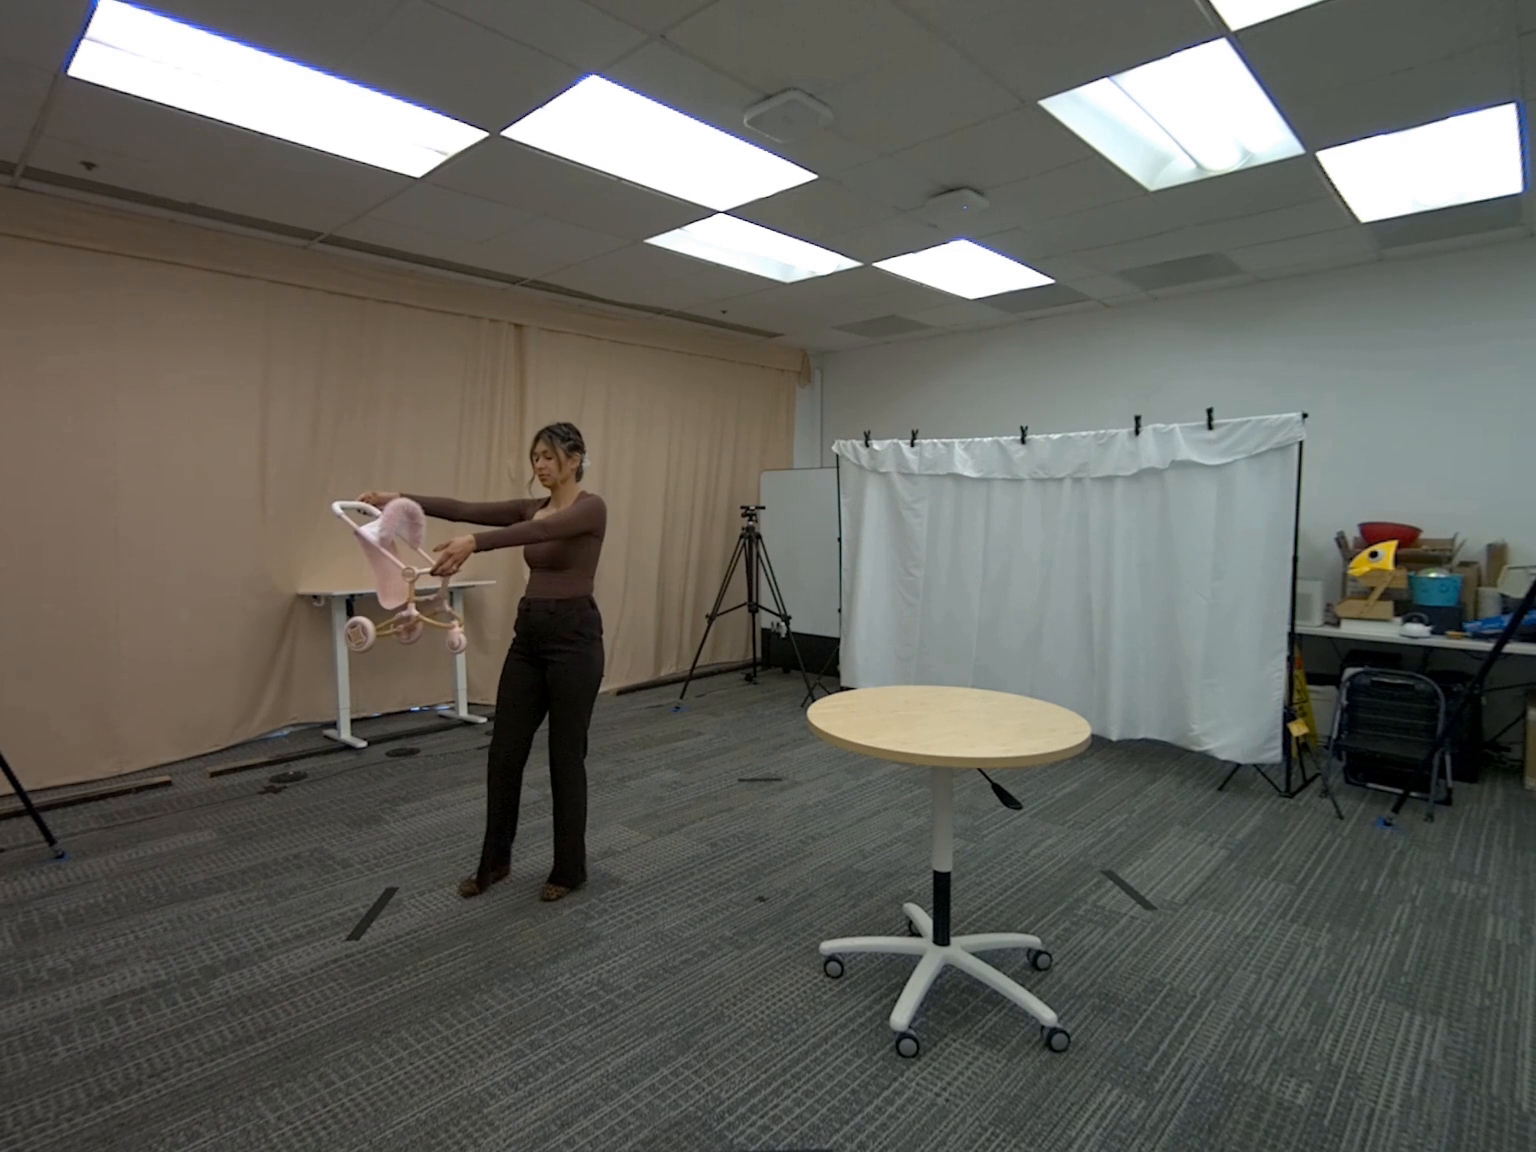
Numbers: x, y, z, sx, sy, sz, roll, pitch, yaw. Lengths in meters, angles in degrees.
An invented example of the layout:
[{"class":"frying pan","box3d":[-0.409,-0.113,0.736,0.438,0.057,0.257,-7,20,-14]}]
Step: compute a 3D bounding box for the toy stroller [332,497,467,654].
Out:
[{"class":"toy stroller","box3d":[-1.120,0.005,2.604,0.346,0.536,0.277,-12,-3,15]}]
